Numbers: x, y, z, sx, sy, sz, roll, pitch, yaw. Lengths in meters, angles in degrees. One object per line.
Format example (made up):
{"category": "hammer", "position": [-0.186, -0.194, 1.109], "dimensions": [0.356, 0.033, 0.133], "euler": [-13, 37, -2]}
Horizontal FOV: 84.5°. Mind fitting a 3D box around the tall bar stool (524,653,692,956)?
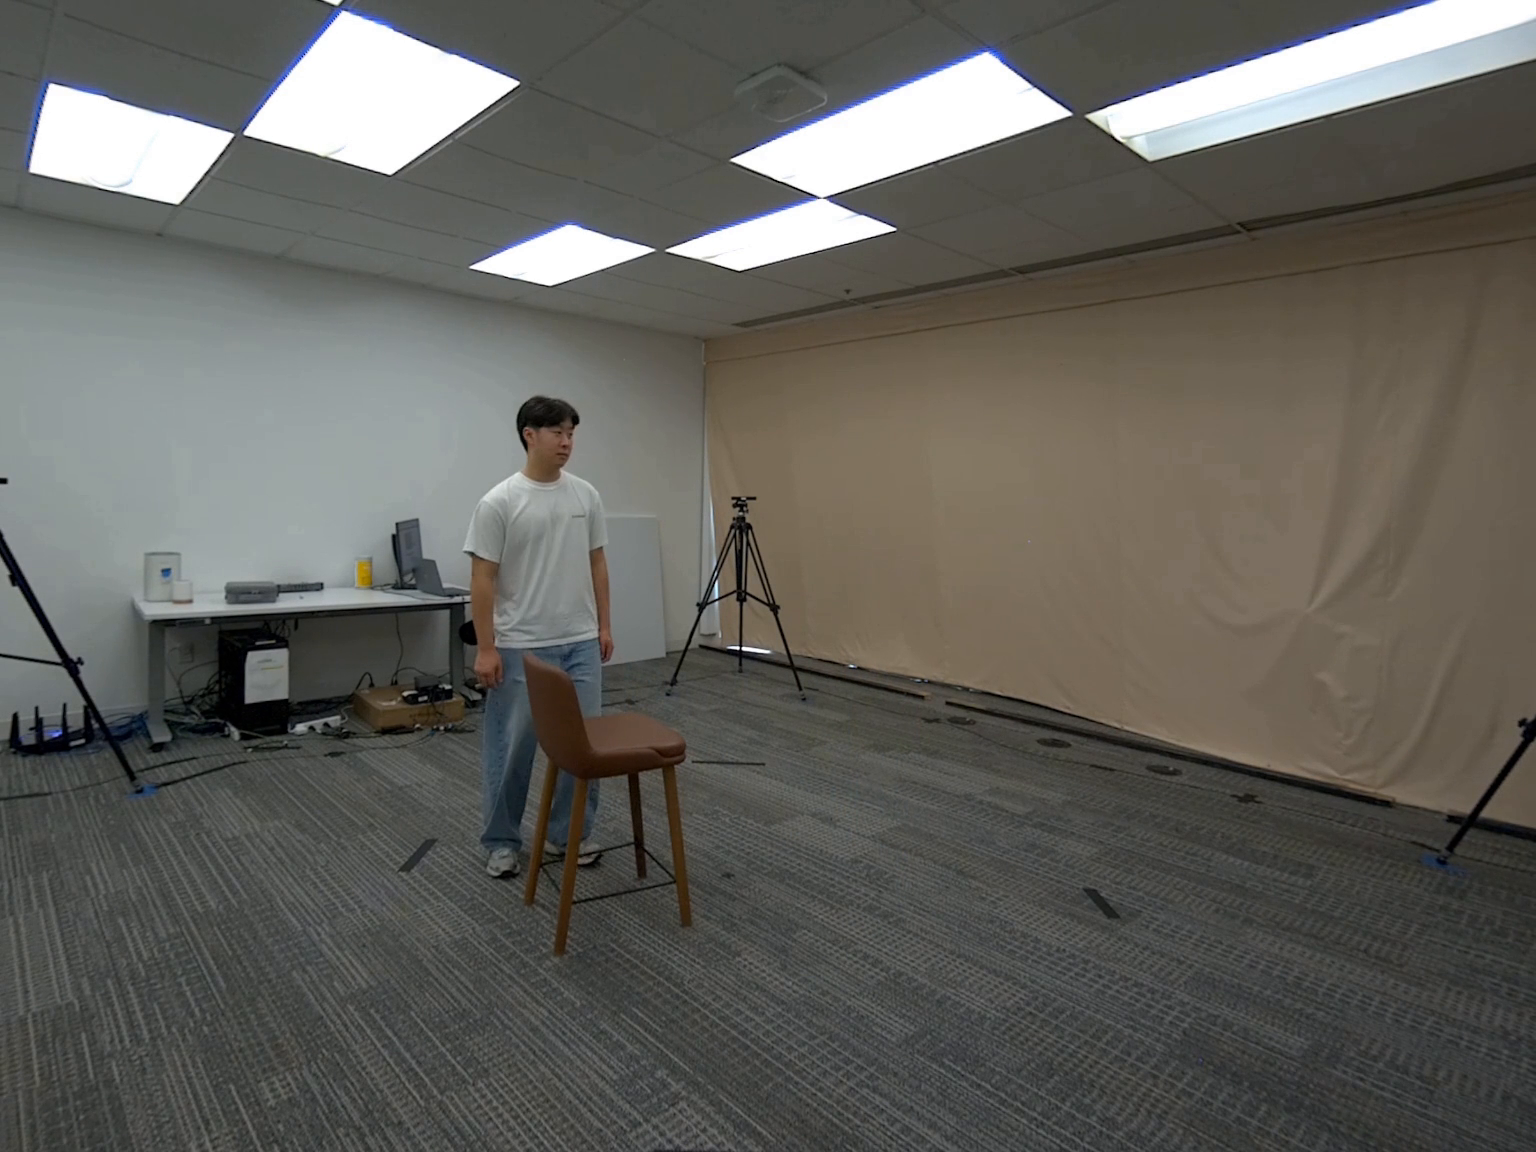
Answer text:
{"category": "tall bar stool", "position": [-0.538, 0.694, 2.776], "dimensions": [0.458, 0.887, 0.467], "euler": [-2, 5, -29]}
